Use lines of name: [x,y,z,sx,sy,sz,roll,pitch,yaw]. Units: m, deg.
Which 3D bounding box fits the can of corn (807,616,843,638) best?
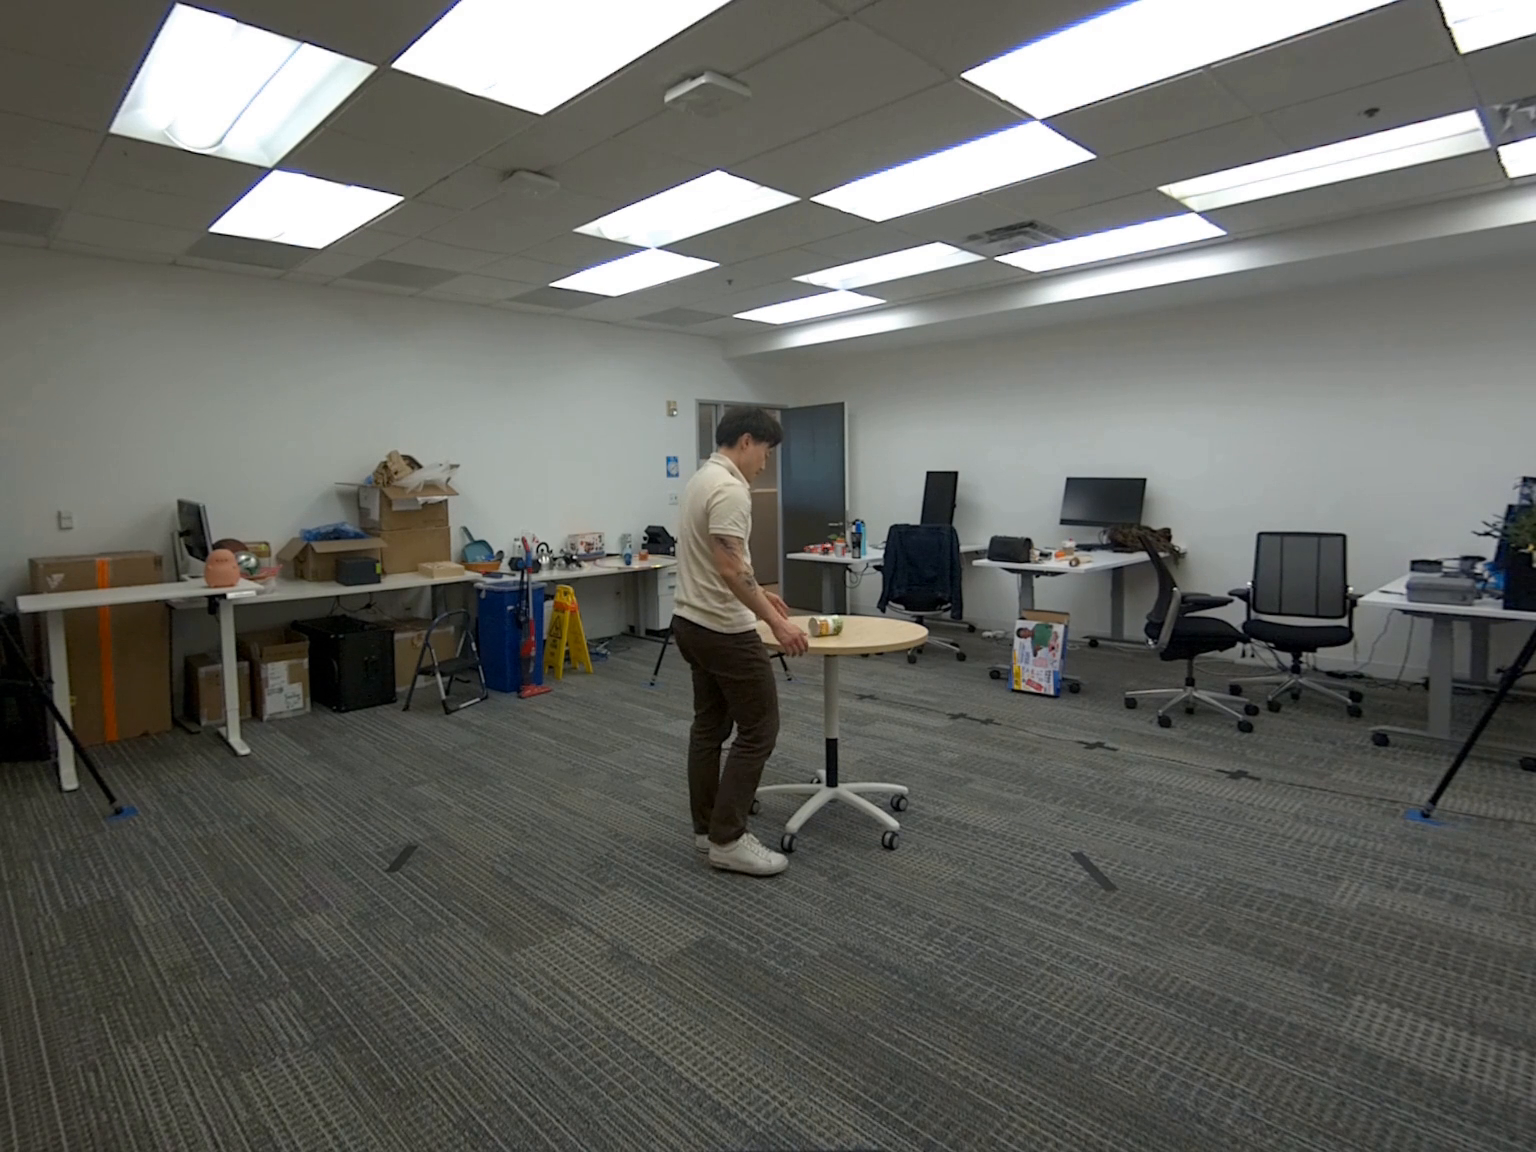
can of corn: [0.223,0.190,3.316,0.108,0.074,0.076,-3,5,-29]
